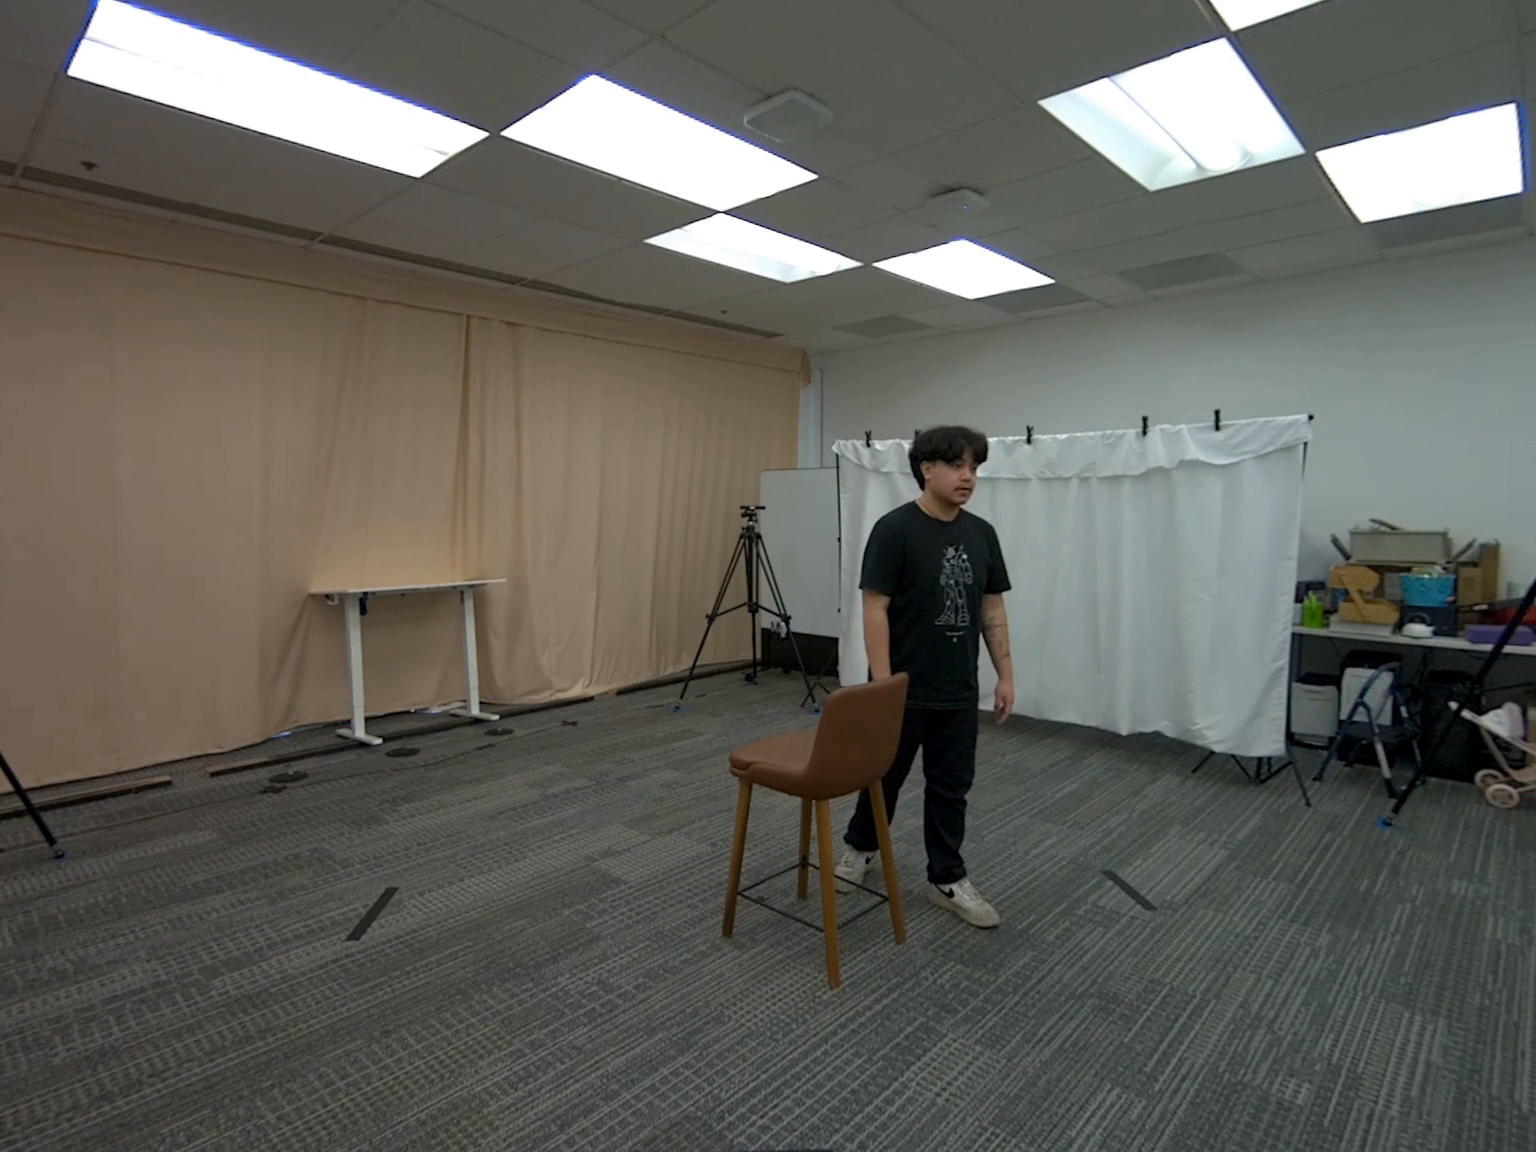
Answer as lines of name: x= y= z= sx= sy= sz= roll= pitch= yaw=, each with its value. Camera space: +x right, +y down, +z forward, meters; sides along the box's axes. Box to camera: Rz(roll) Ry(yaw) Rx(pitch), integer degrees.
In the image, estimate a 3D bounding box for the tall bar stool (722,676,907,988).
tall bar stool: x=0.153 y=0.732 z=2.683 sx=0.483 sy=0.887 sz=0.442 roll=6 pitch=6 yaw=44
